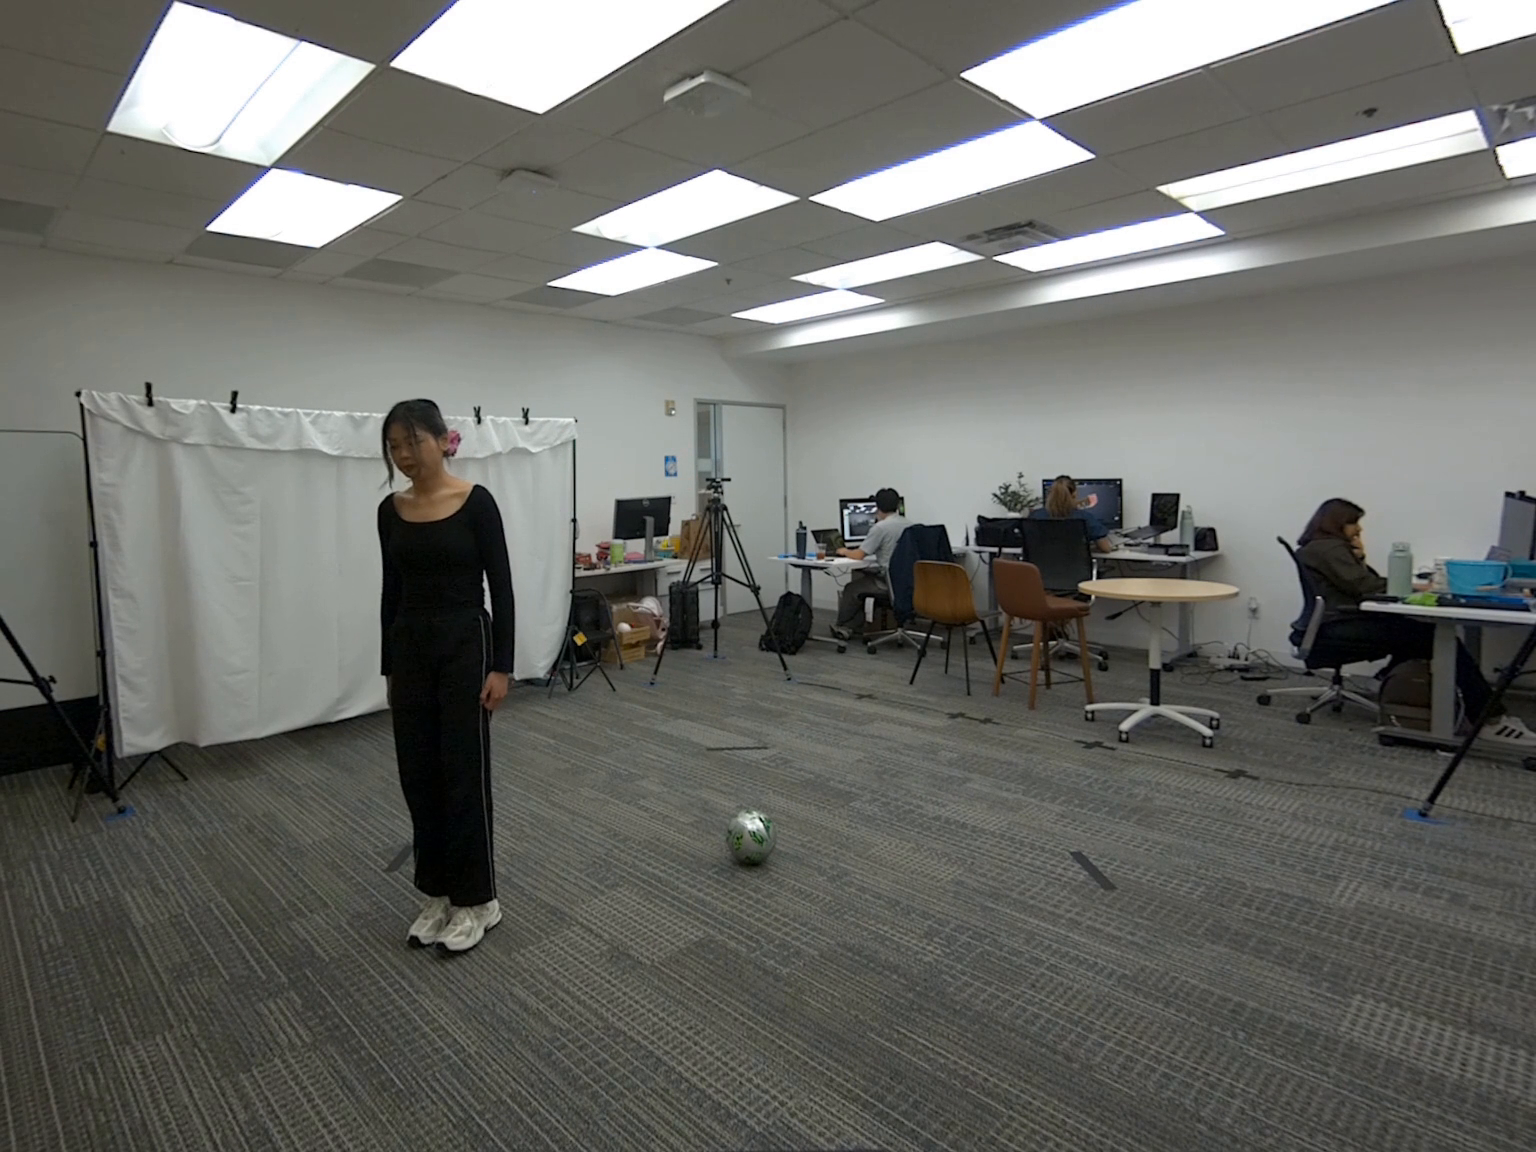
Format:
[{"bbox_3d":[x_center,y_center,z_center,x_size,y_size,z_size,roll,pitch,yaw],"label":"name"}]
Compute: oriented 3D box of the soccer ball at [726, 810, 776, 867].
[{"bbox_3d":[-0.058,0.947,3.112,0.187,0.187,0.188,-1,5,-2],"label":"soccer ball"}]
